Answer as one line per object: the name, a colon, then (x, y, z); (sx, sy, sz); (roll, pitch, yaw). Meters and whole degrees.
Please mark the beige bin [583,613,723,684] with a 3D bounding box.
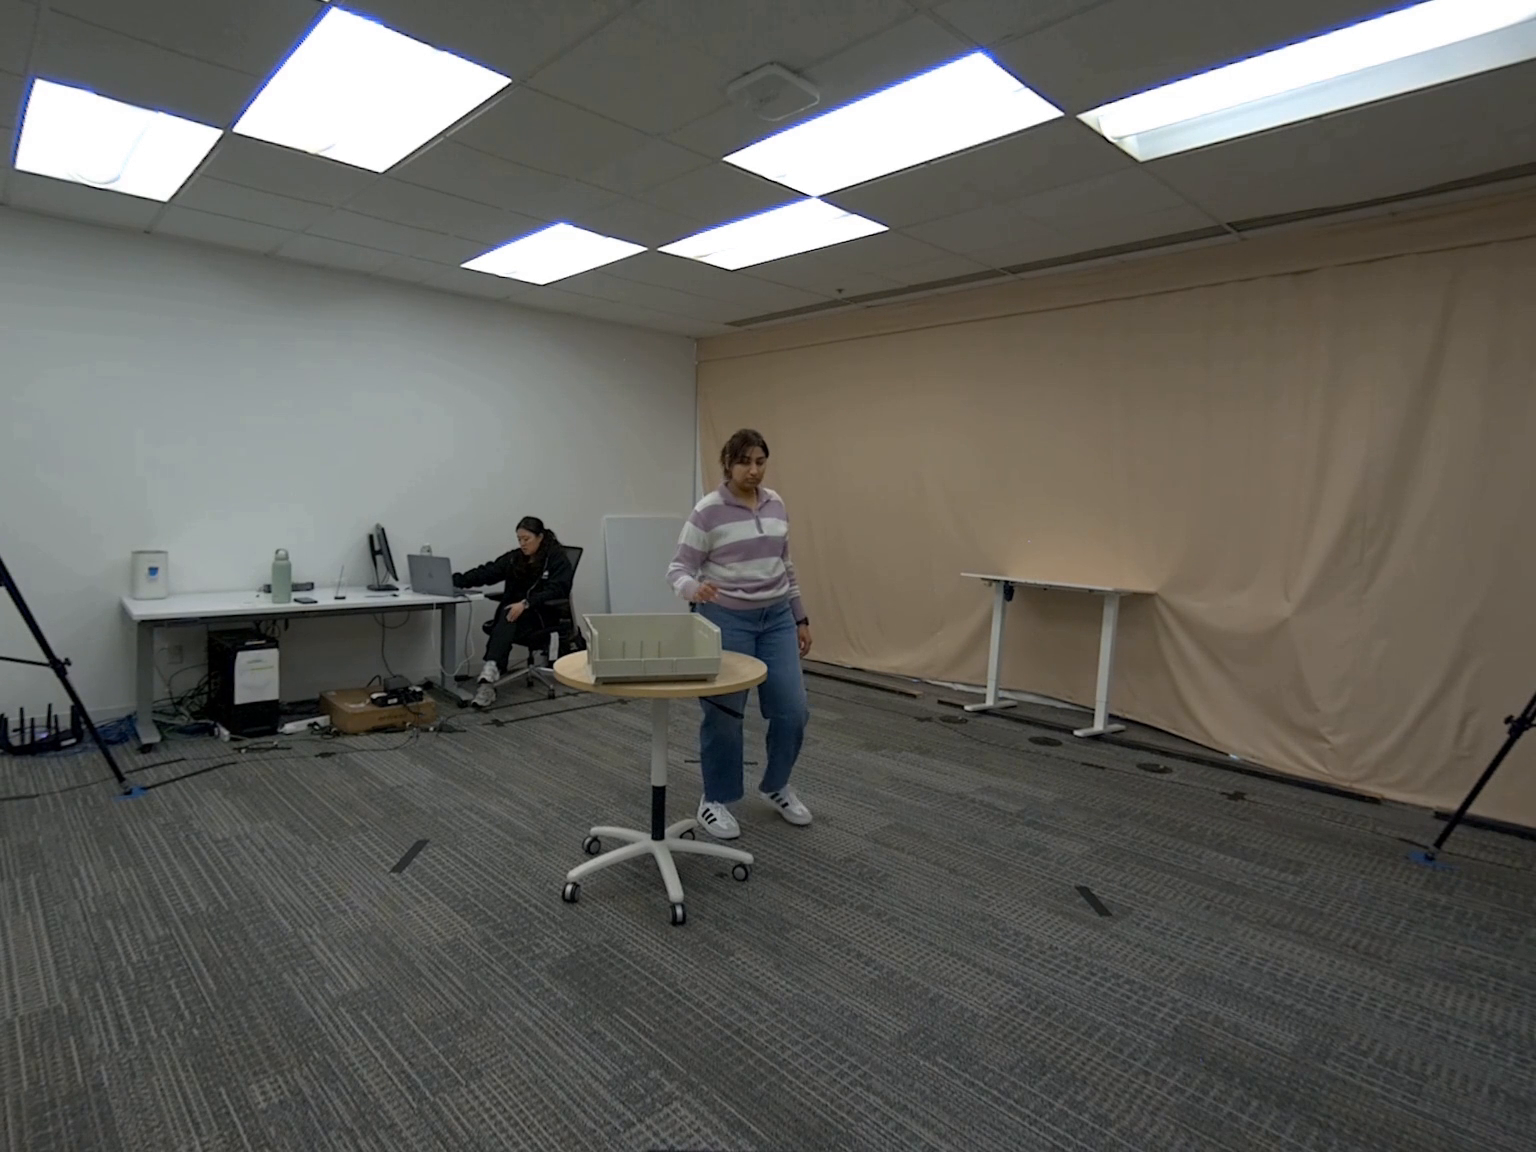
beige bin: (-0.410, 0.254, 2.871); (0.417, 0.188, 0.383); (0, 6, -17)
